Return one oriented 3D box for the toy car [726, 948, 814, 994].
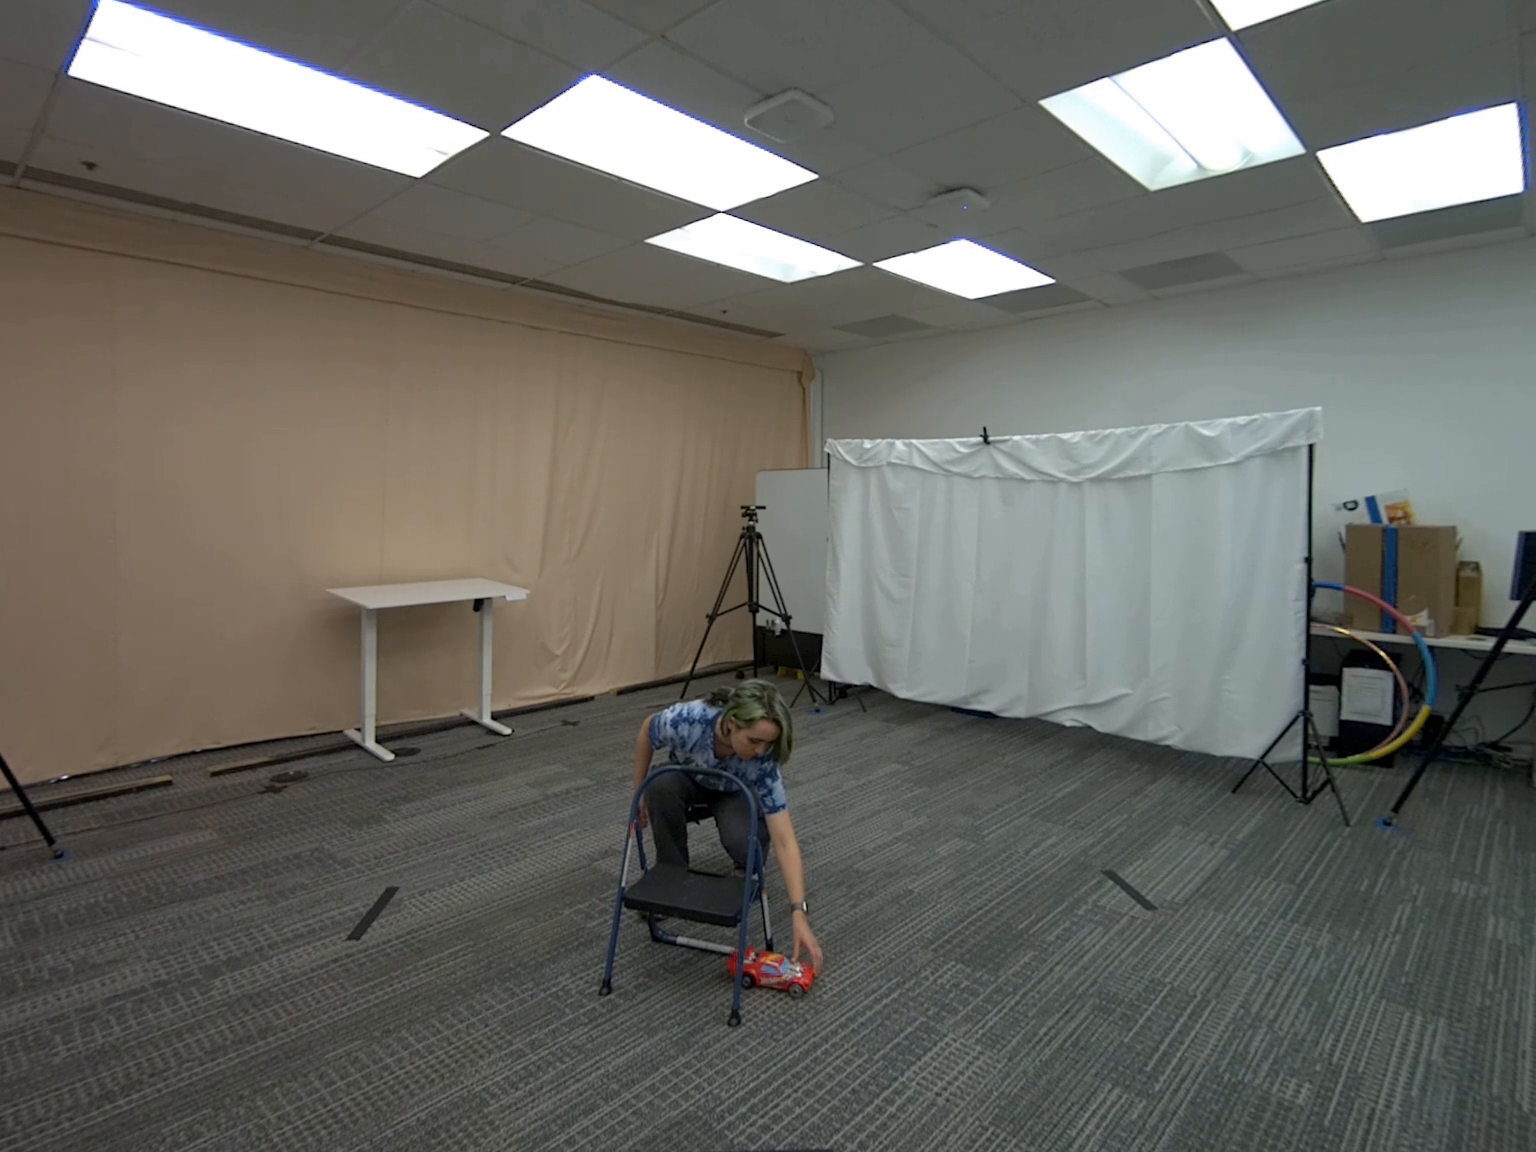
[{"bbox_3d":[0.010,1.160,2.469,0.259,0.083,0.128,16,9,13],"label":"toy car"}]
